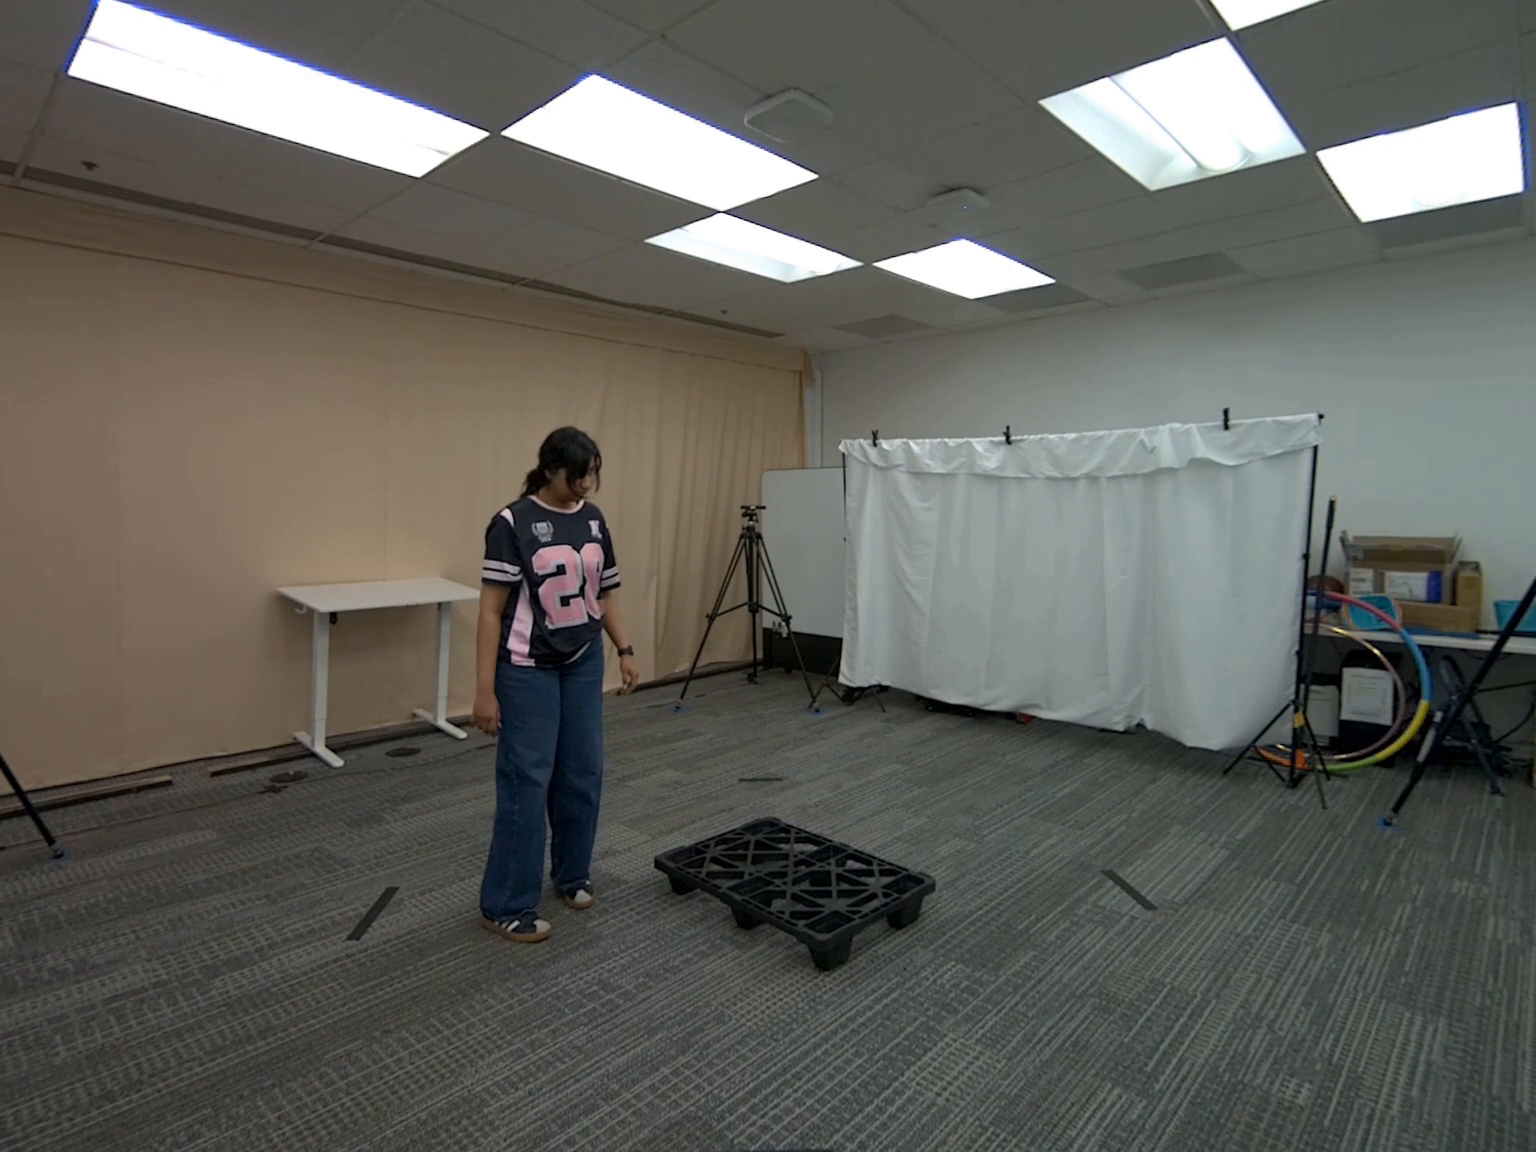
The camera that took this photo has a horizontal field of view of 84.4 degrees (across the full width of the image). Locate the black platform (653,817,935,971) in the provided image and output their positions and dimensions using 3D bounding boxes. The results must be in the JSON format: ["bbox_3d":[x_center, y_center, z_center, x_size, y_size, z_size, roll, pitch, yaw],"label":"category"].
[{"bbox_3d":[0.081,1.083,2.921,0.587,0.143,0.832,-5,7,-44],"label":"black platform"}]
